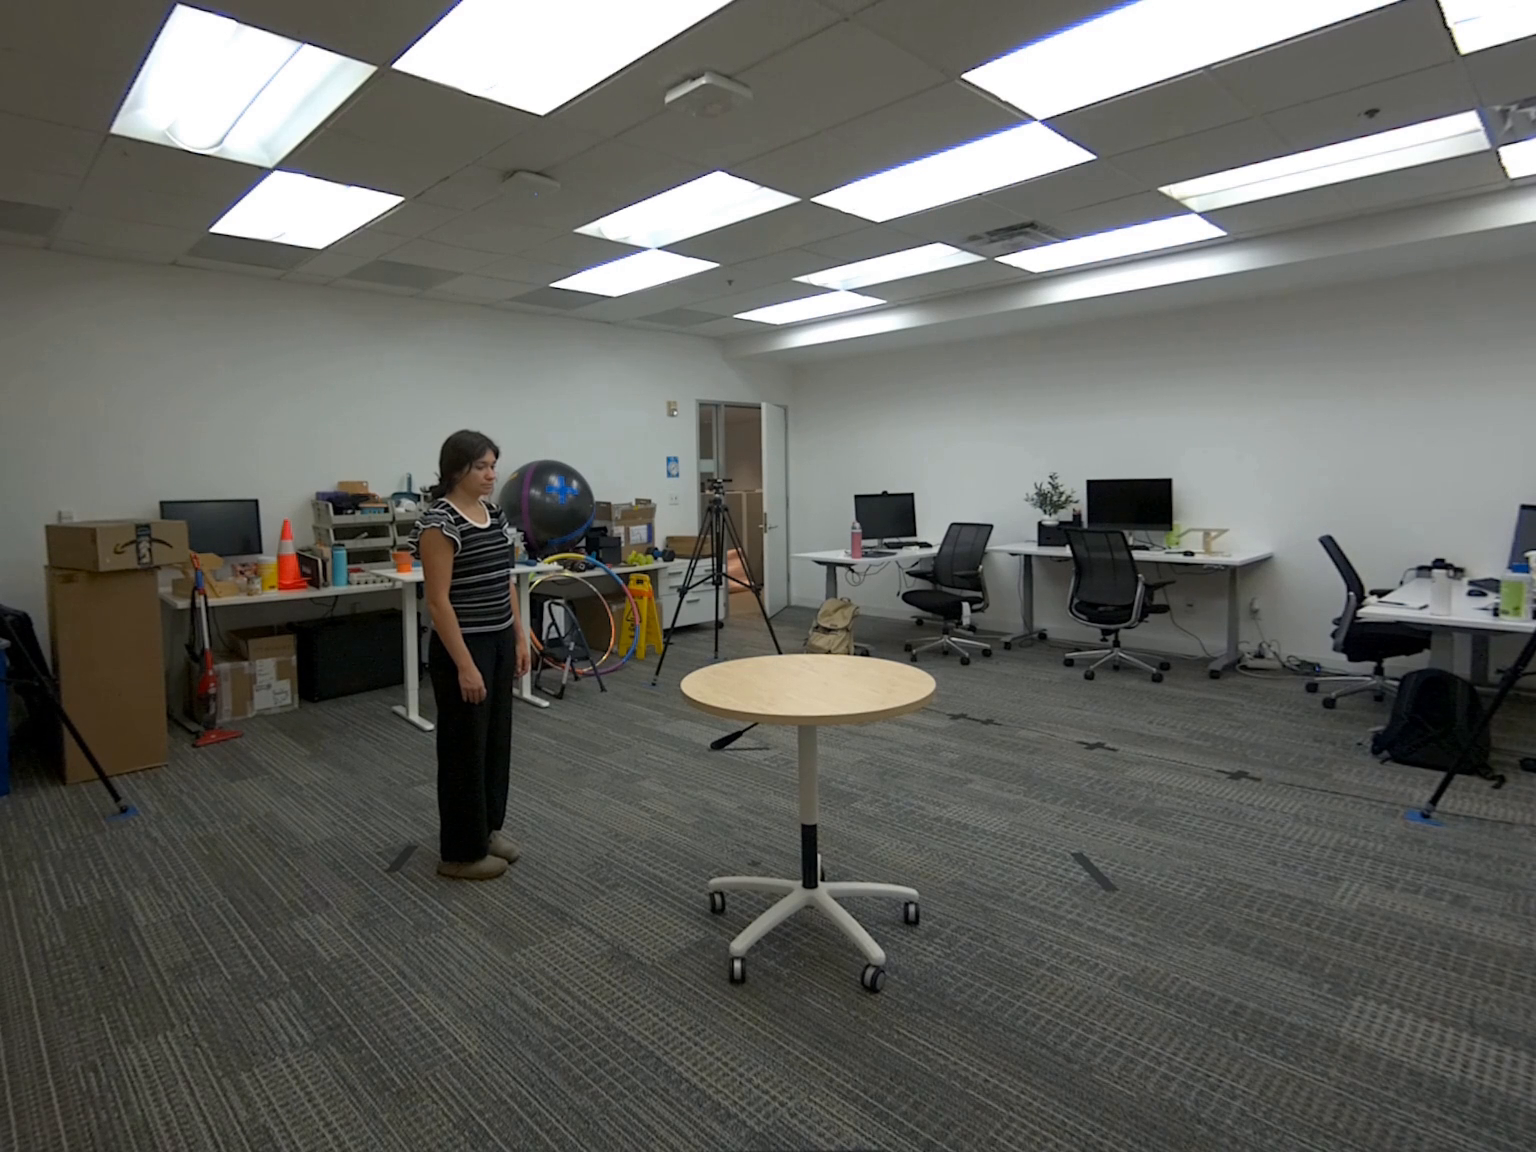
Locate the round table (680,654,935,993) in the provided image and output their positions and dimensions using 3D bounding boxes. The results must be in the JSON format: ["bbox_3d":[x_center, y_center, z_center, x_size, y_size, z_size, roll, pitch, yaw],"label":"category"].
[{"bbox_3d":[0.133,0.712,2.615,0.763,0.791,0.768,-2,5,-2],"label":"round table"}]
